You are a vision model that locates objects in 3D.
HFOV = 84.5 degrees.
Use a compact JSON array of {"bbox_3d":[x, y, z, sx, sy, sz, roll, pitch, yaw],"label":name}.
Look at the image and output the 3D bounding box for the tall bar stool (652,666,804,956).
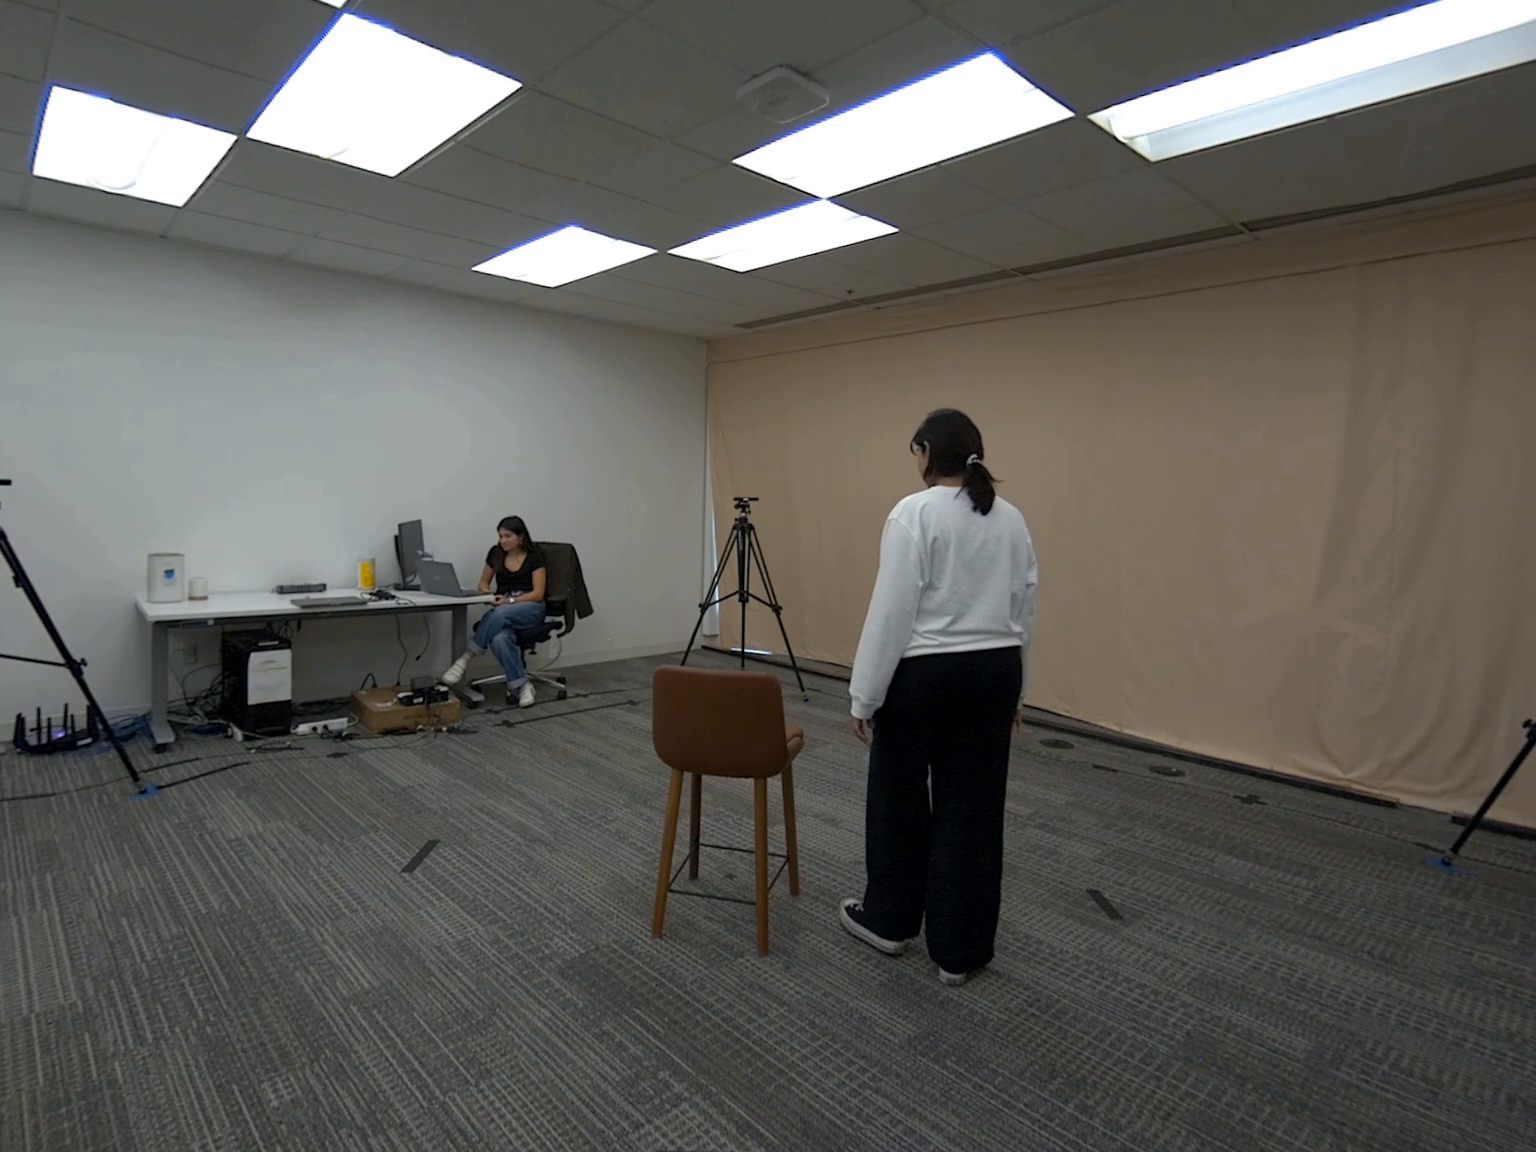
[{"bbox_3d":[-0.131,0.703,2.793,0.462,0.886,0.463,2,5,15],"label":"tall bar stool"}]
